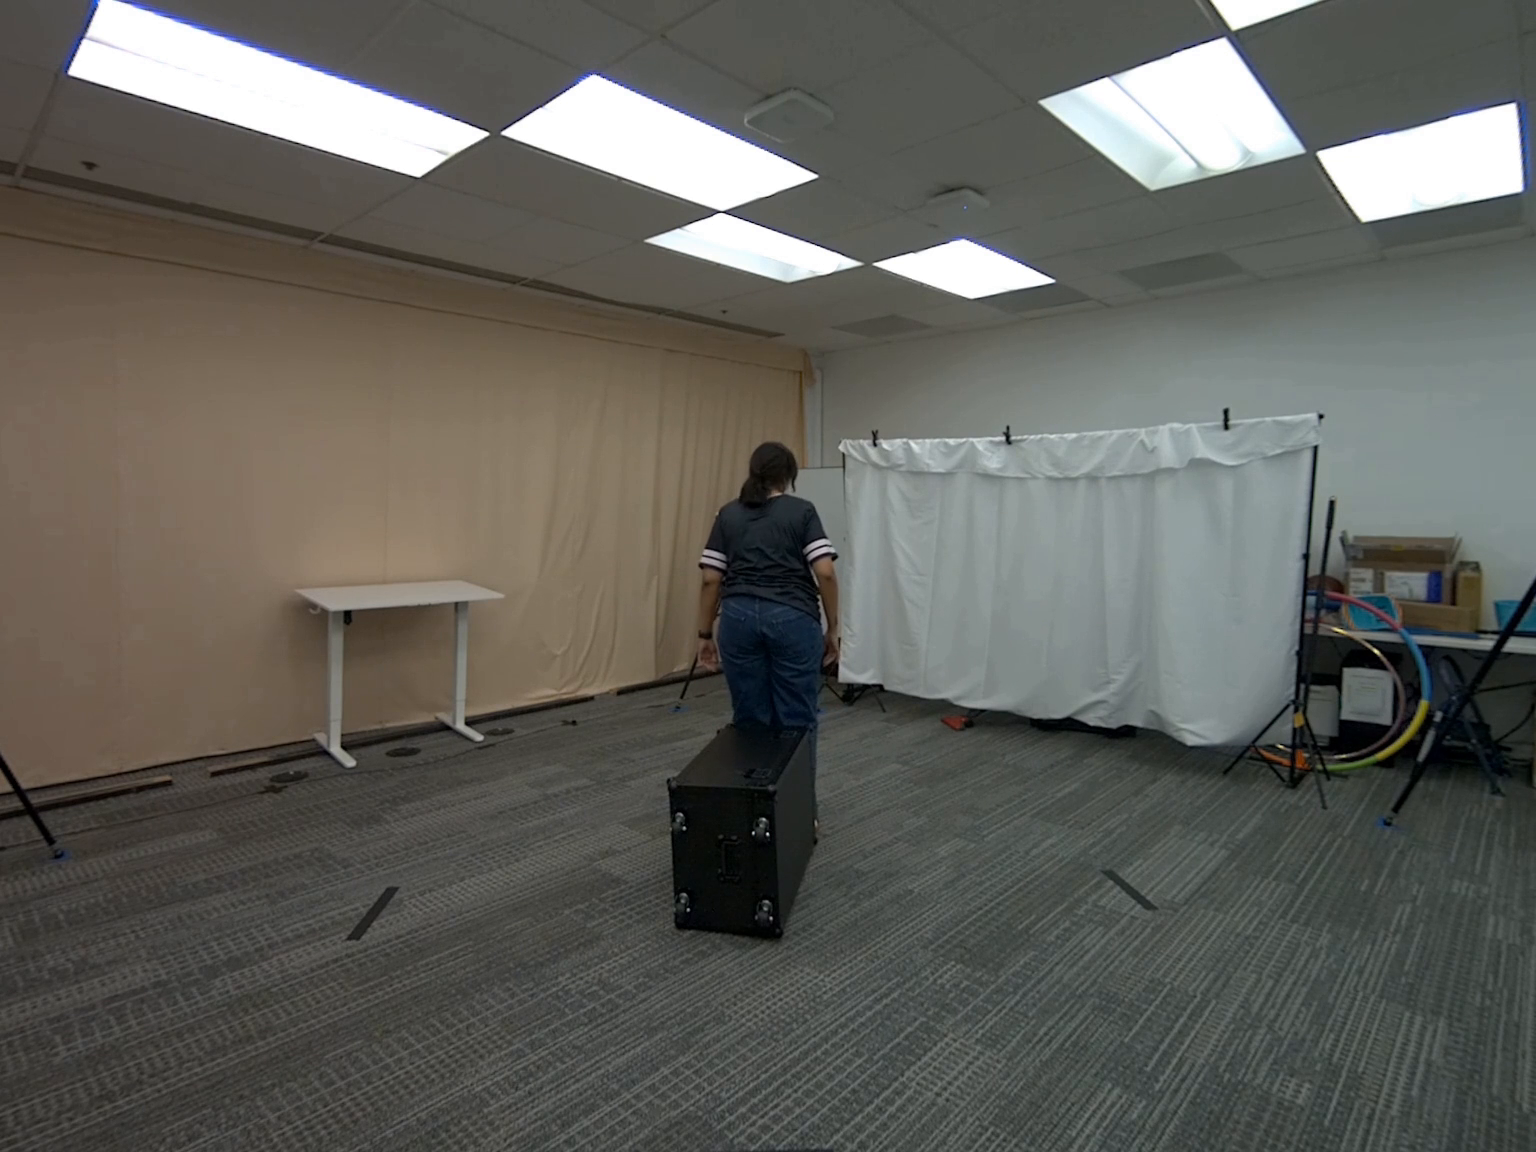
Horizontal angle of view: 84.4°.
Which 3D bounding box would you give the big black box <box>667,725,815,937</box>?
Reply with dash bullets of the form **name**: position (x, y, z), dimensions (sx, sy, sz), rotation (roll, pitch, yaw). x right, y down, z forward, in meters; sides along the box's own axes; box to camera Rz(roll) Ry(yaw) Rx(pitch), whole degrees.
- **big black box**: position (-0.073, 0.877, 3.057), dimensions (0.391, 0.522, 0.857), rotation (0, 4, 13)
